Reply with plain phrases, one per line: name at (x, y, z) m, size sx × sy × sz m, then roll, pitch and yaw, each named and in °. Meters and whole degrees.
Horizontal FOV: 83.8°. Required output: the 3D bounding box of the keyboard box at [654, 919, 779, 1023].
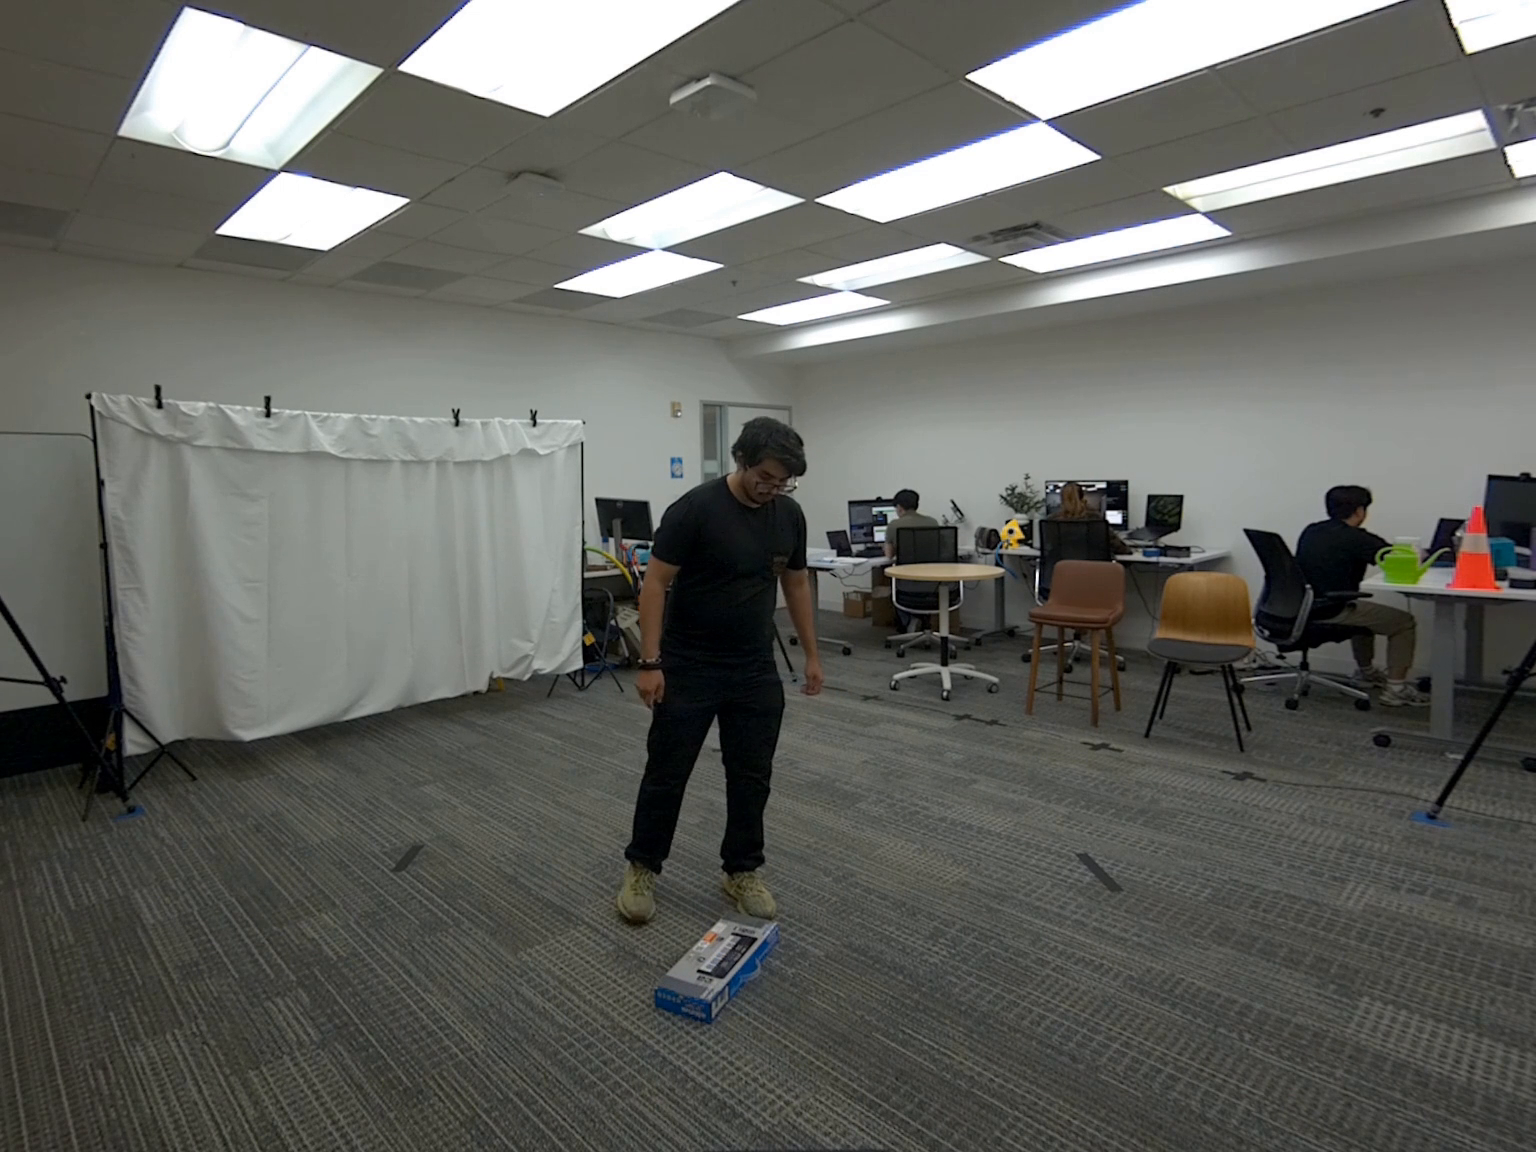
keyboard box at (-0.132, 1.099, 2.433) m, size 0.180 × 0.059 × 0.428 m, roll 2°, pitch 7°, yaw 26°
